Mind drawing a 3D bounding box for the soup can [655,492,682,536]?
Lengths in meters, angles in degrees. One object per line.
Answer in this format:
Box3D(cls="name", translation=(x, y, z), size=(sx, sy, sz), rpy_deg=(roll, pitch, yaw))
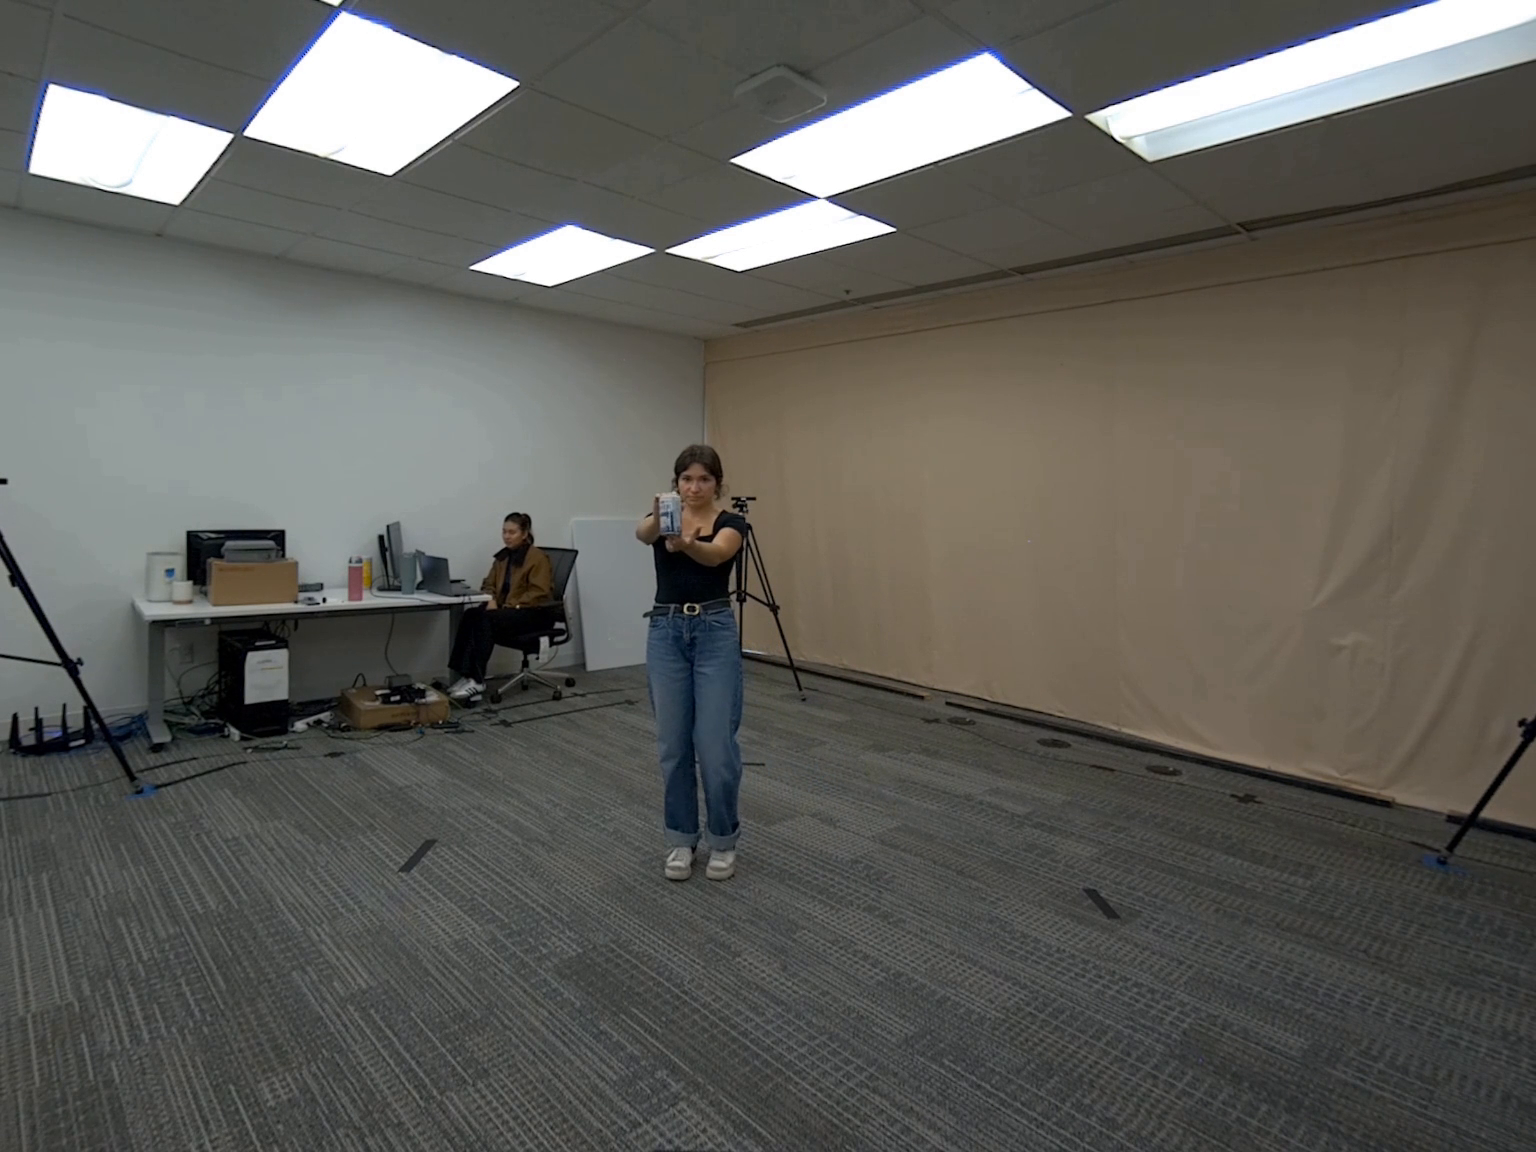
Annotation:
Box3D(cls="soup can", translation=(-0.312, -0.185, 2.585), size=(0.067, 0.122, 0.067), rpy_deg=(-2, -3, -1))
